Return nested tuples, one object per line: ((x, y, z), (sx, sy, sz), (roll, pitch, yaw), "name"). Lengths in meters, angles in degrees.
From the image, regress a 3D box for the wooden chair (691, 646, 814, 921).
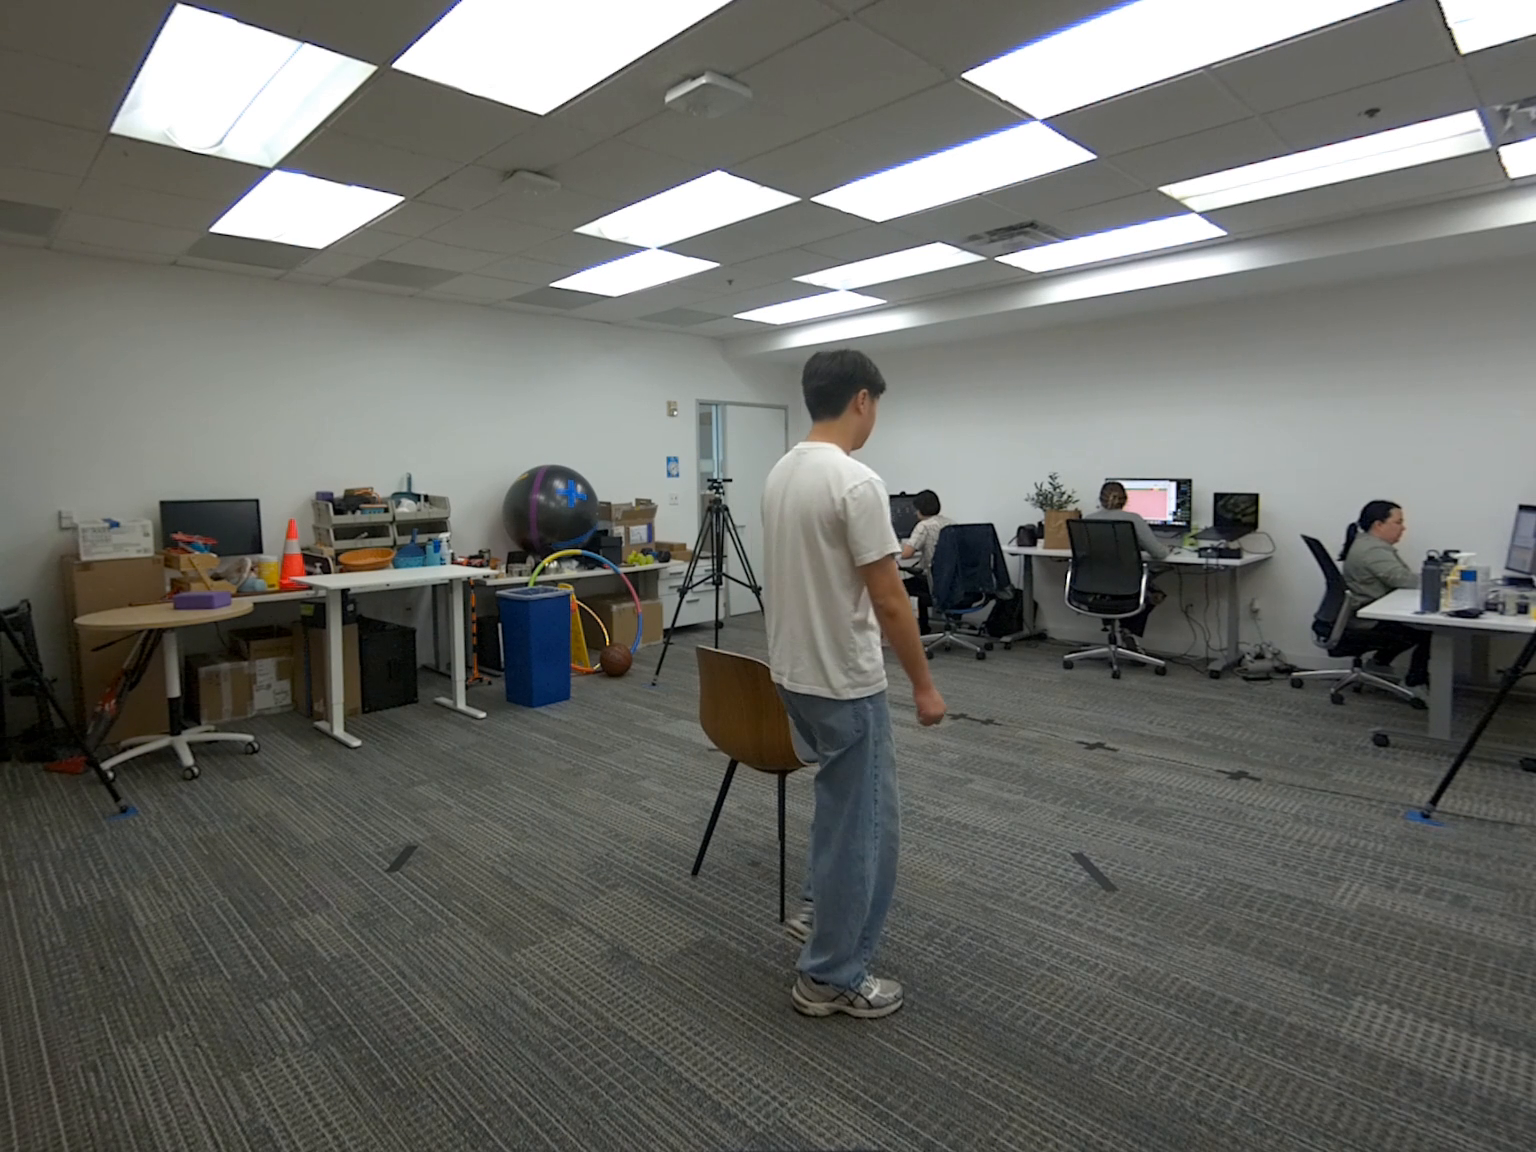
((0.047, 0.634, 2.974), (0.511, 0.871, 0.493), (-10, 10, -43), "wooden chair")
